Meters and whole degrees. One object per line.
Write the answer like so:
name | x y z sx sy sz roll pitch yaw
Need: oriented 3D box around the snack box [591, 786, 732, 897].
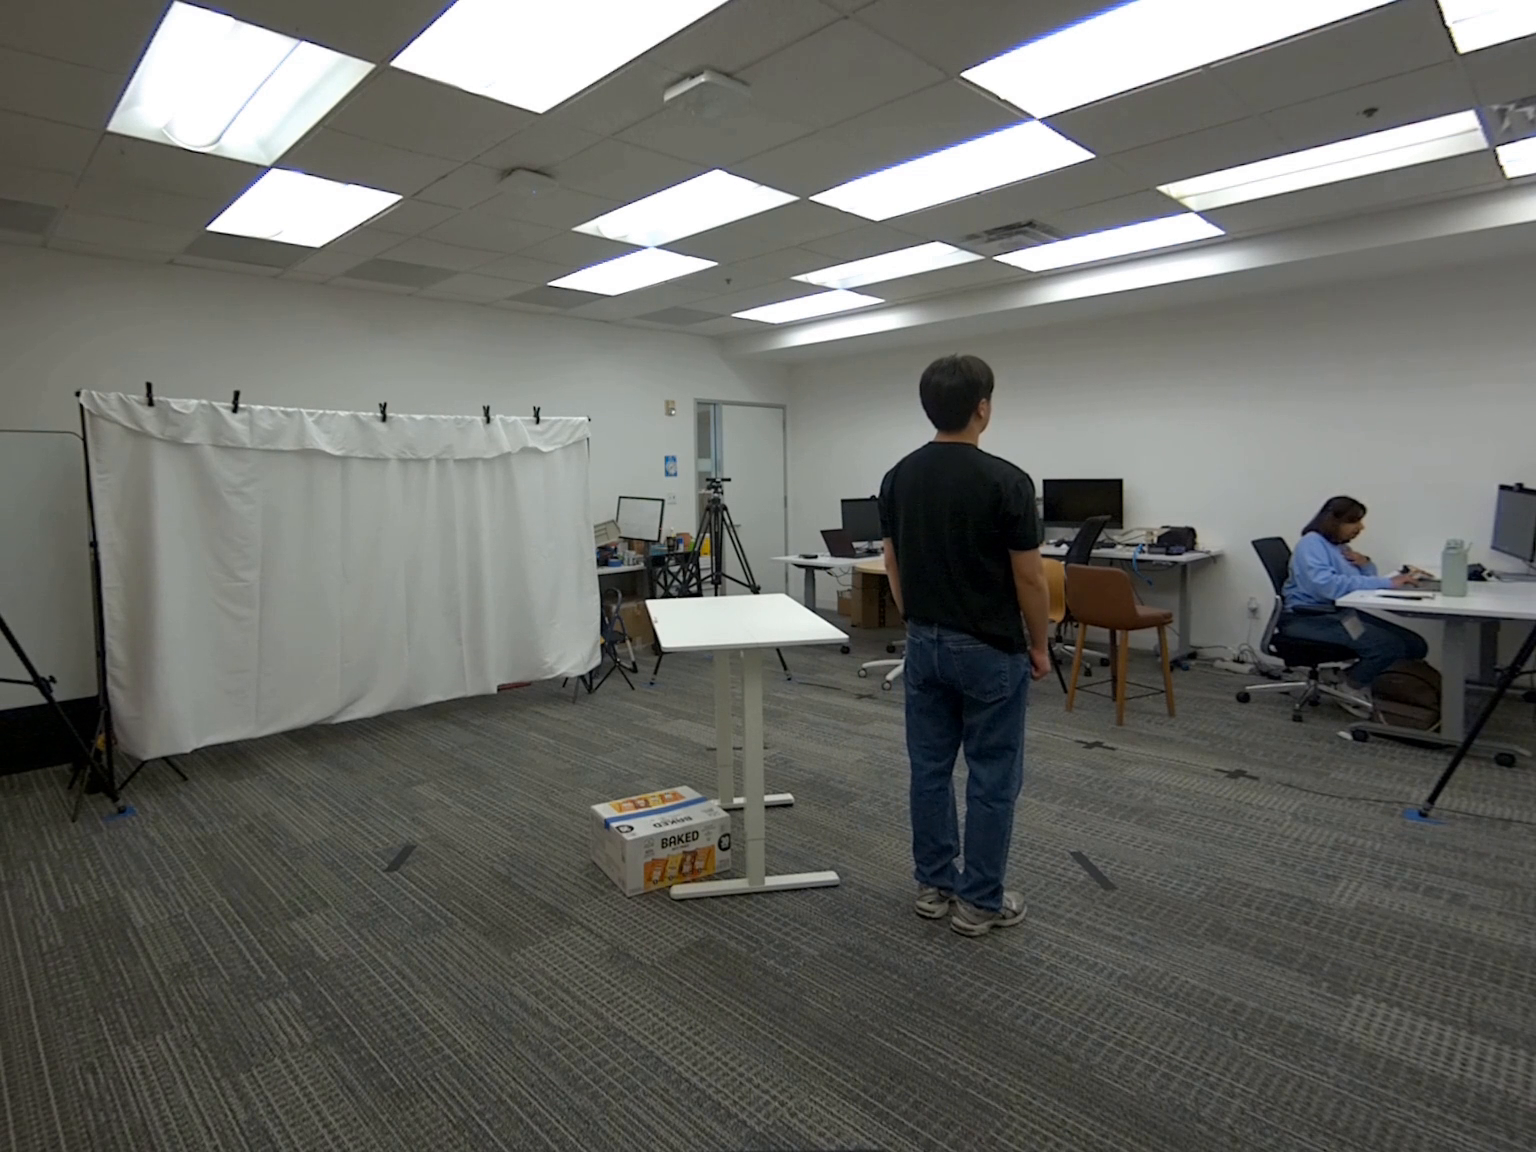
snack box | -0.391 0.948 3.090 0.395 0.205 0.350 -4 7 -31
